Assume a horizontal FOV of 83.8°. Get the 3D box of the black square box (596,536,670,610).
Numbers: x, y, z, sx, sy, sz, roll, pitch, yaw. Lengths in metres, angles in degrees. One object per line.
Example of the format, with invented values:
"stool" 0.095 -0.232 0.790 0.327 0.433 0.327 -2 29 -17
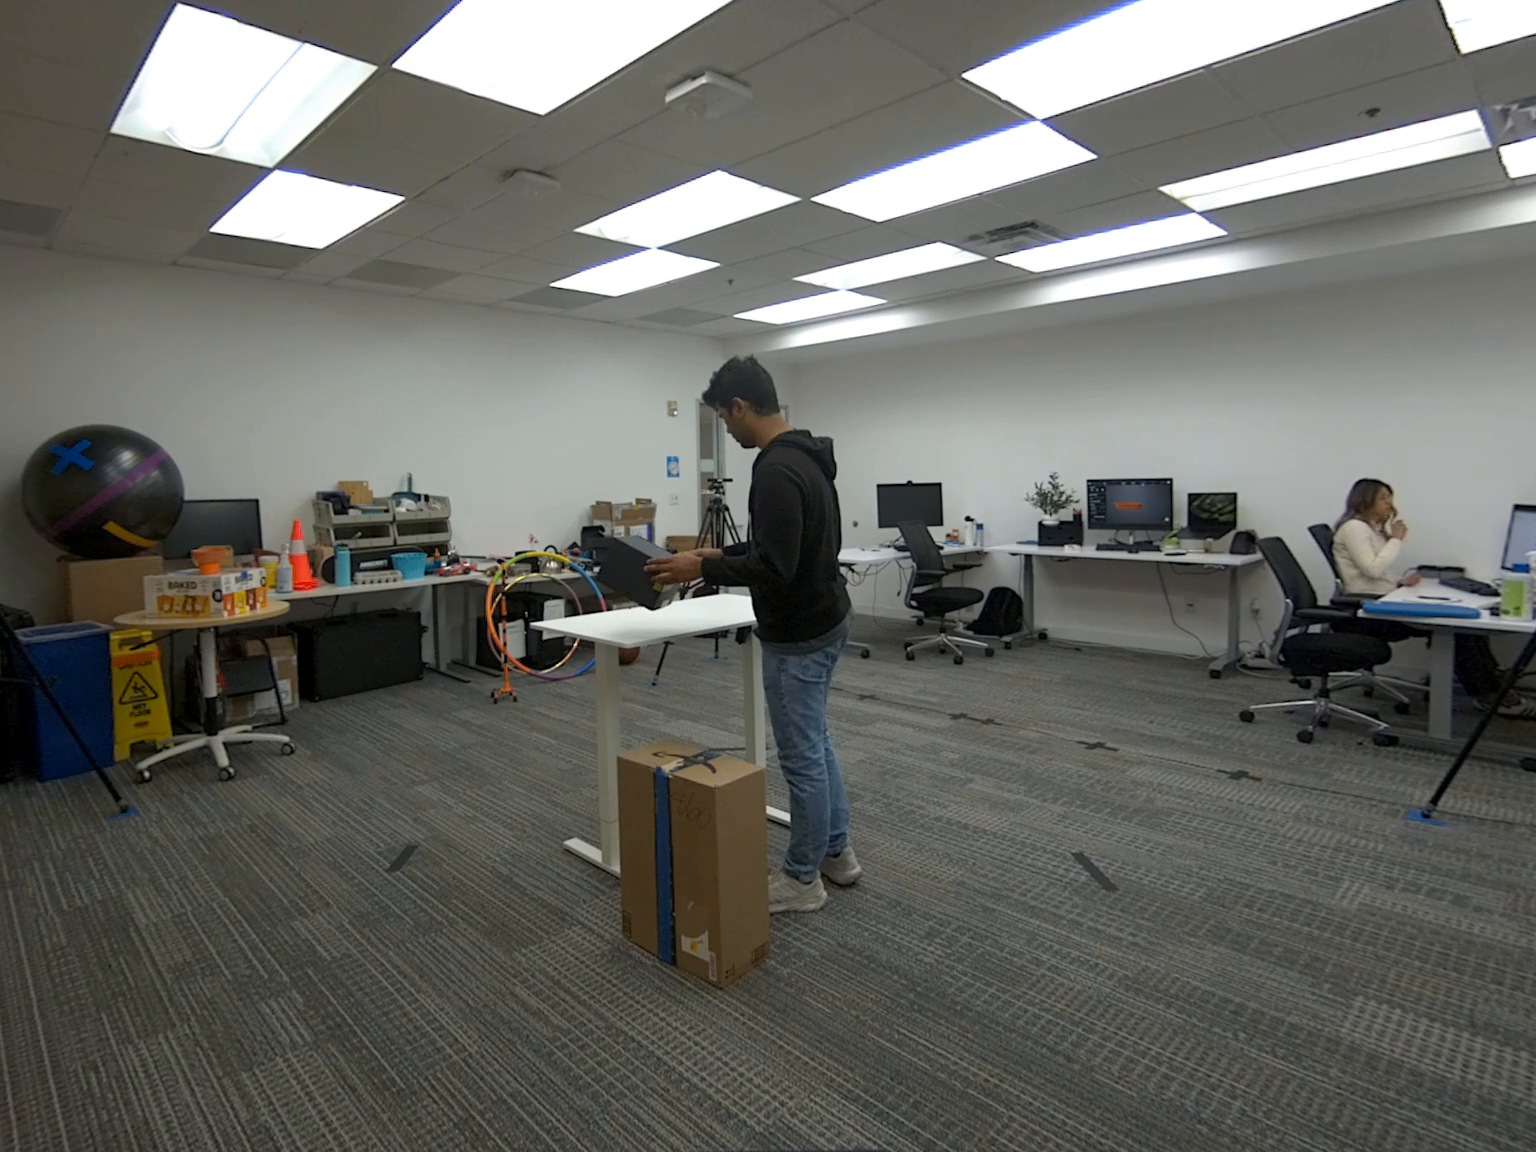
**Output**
"black square box" -0.391 -0.009 2.809 0.220 0.155 0.225 27 9 10
